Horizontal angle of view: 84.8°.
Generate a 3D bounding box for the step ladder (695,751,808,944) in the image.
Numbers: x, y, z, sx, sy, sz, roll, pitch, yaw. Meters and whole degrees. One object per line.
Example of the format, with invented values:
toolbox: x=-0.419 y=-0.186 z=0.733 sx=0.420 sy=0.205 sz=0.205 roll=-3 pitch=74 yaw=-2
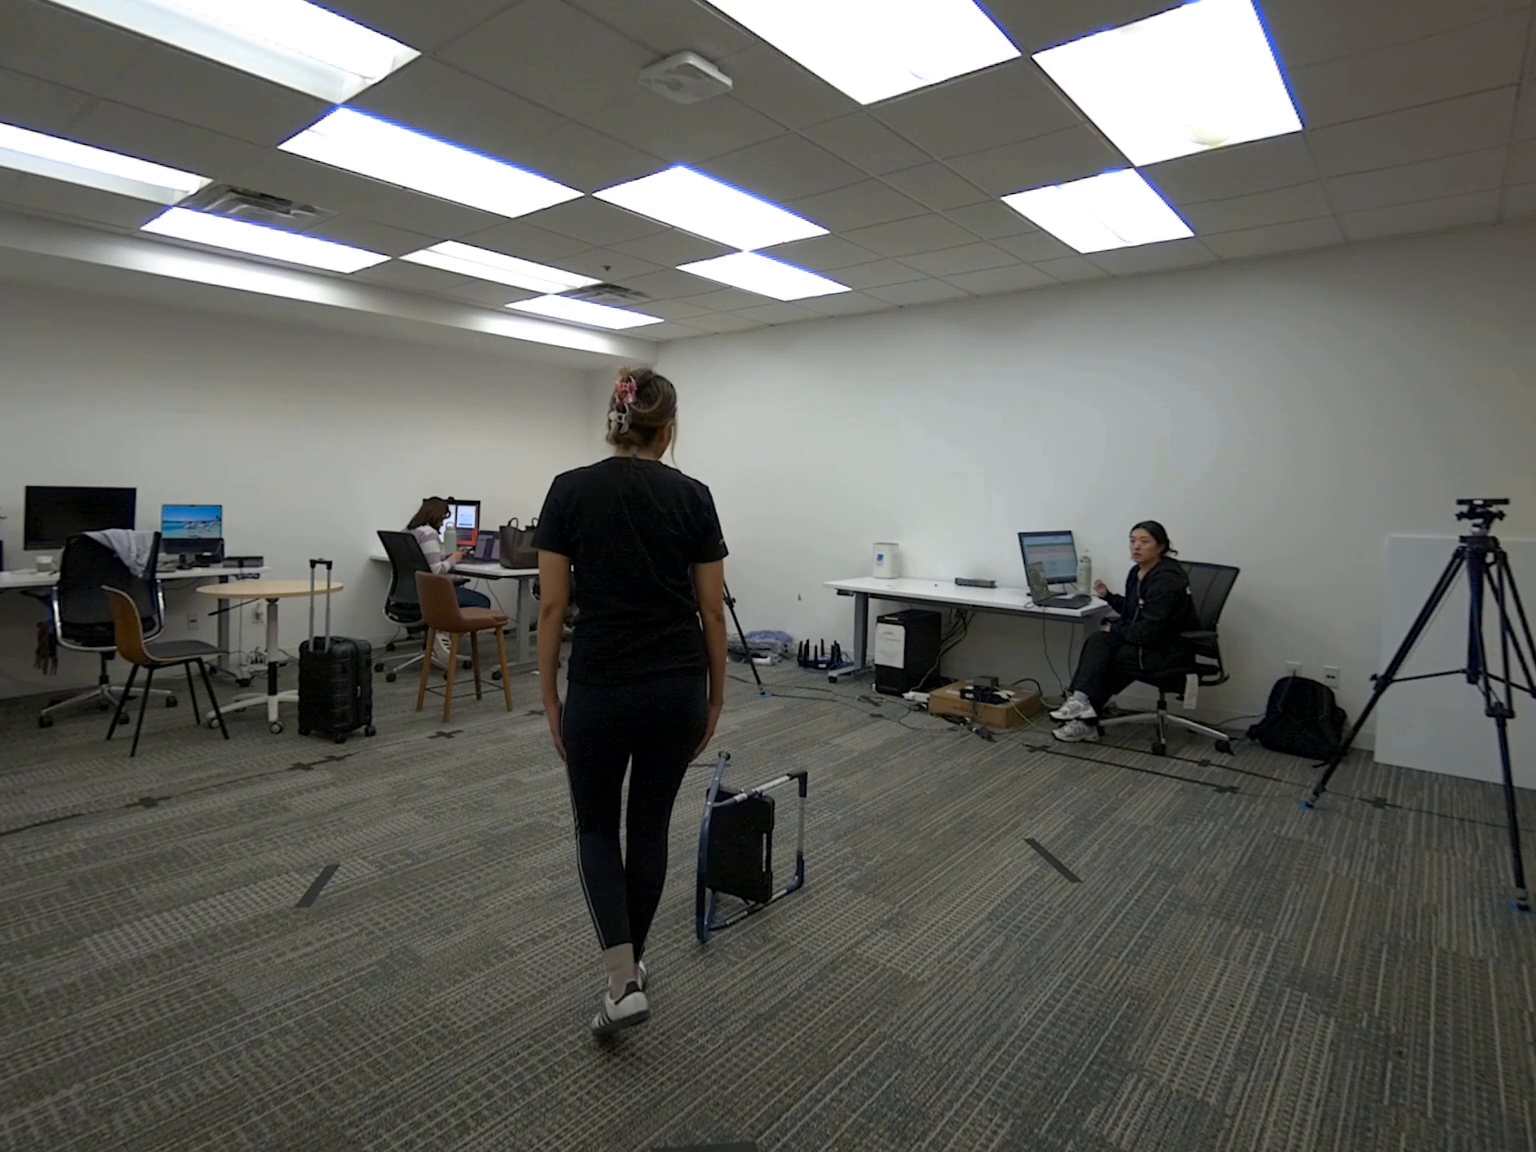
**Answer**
step ladder: x=-0.147 y=0.898 z=2.792 sx=0.358 sy=0.428 sz=0.593 roll=3 pitch=6 yaw=25
